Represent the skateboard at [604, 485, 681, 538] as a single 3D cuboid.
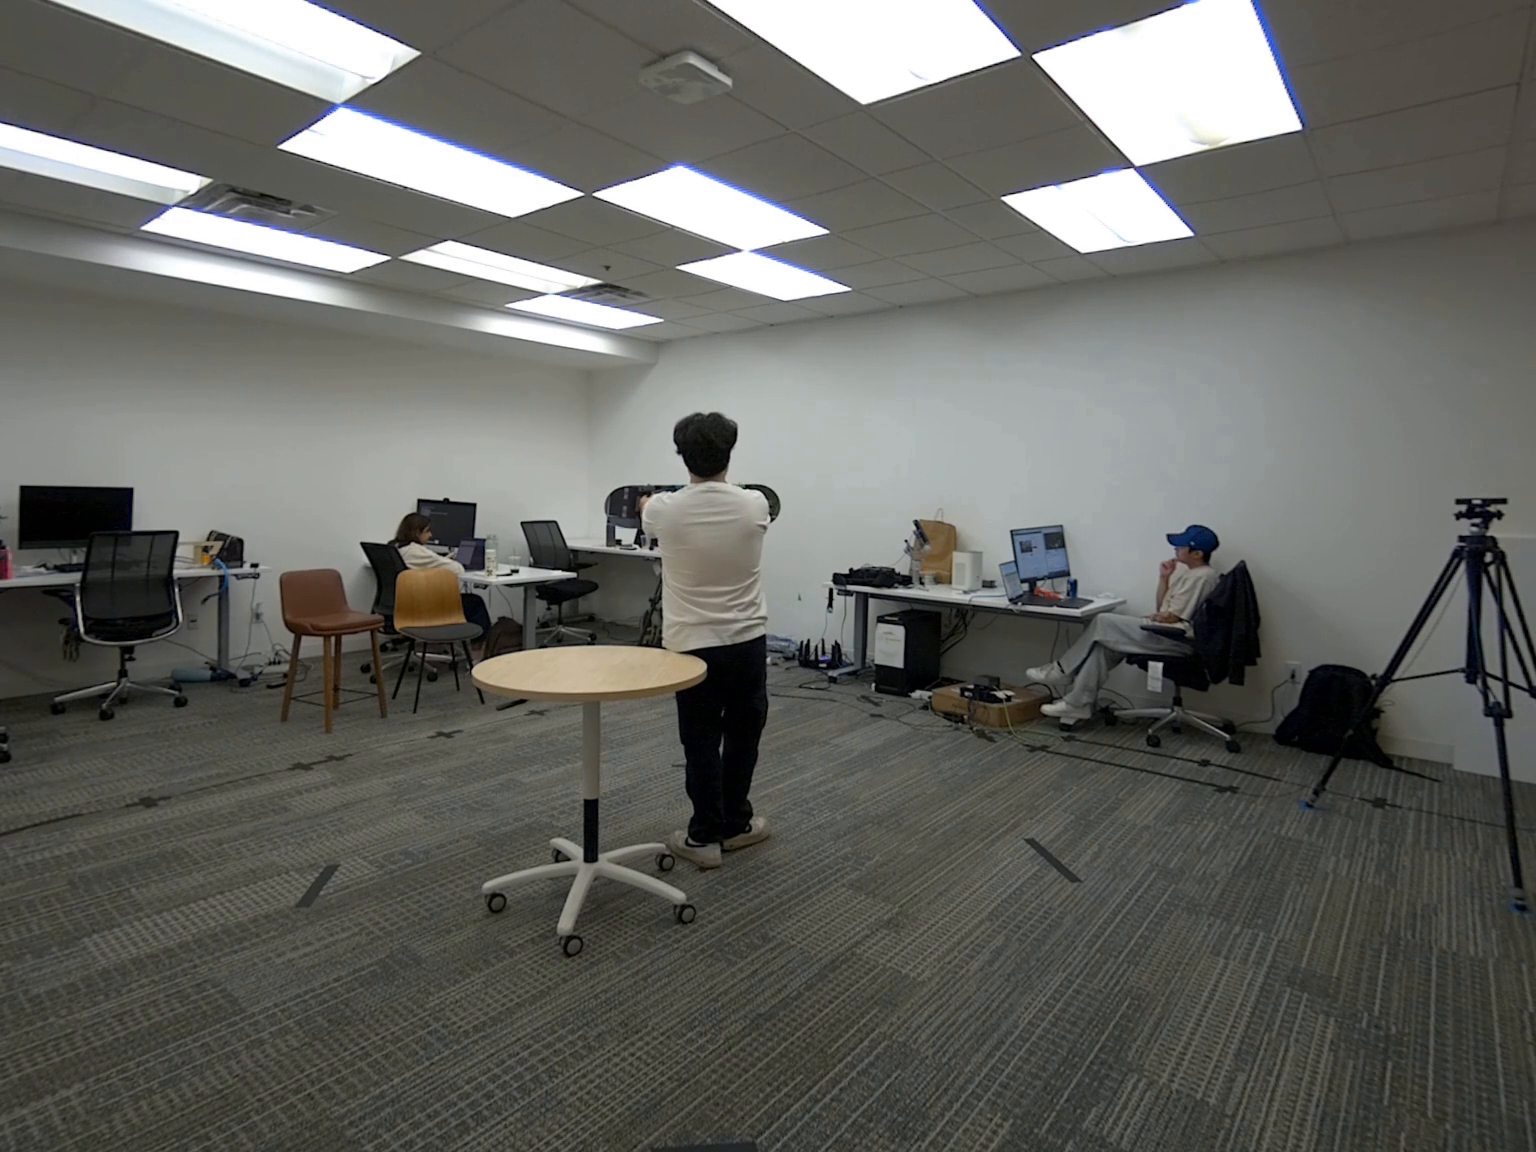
[{"bbox_3d":[-0.333,-0.311,3.739,0.780,0.194,0.110,-1,-3,-6],"label":"skateboard"}]
